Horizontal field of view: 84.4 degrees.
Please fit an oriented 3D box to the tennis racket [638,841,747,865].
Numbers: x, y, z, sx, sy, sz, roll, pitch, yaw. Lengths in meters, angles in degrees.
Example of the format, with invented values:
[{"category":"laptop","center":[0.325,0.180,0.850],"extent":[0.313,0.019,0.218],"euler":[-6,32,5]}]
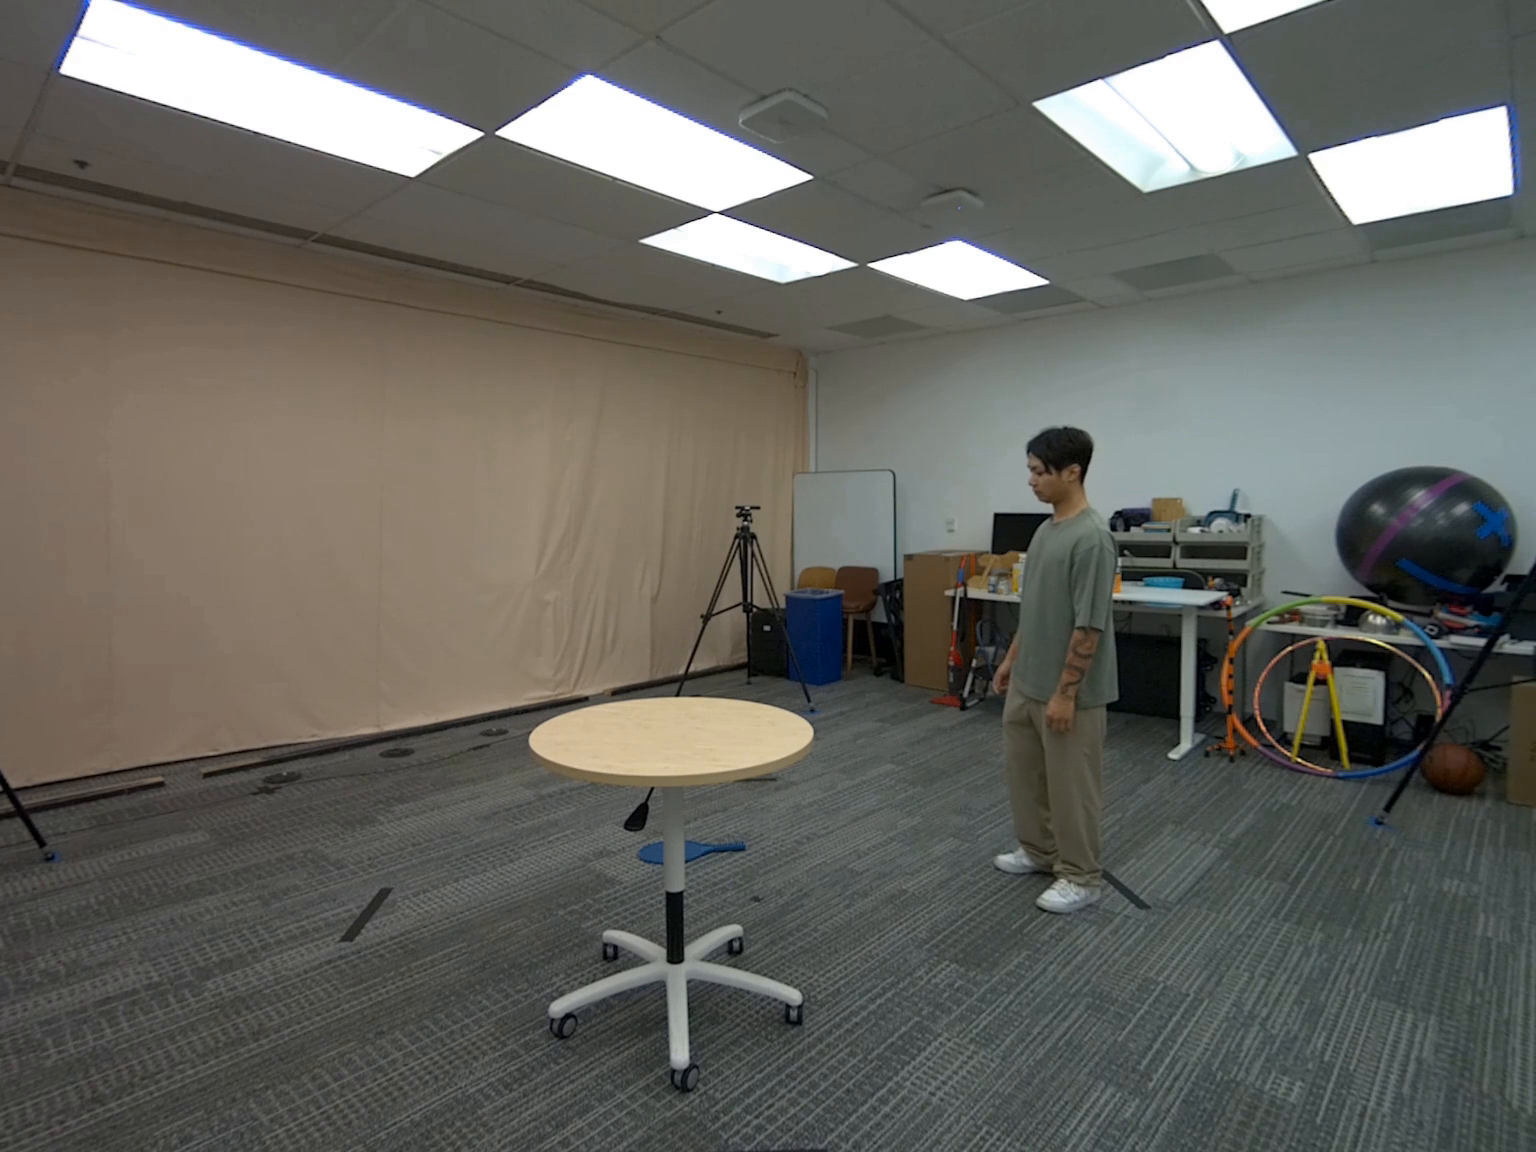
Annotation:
[{"category":"tennis racket","center":[-0.302,1.098,3.383],"extent":[0.429,0.032,0.216],"euler":[-3,5,-8]}]
